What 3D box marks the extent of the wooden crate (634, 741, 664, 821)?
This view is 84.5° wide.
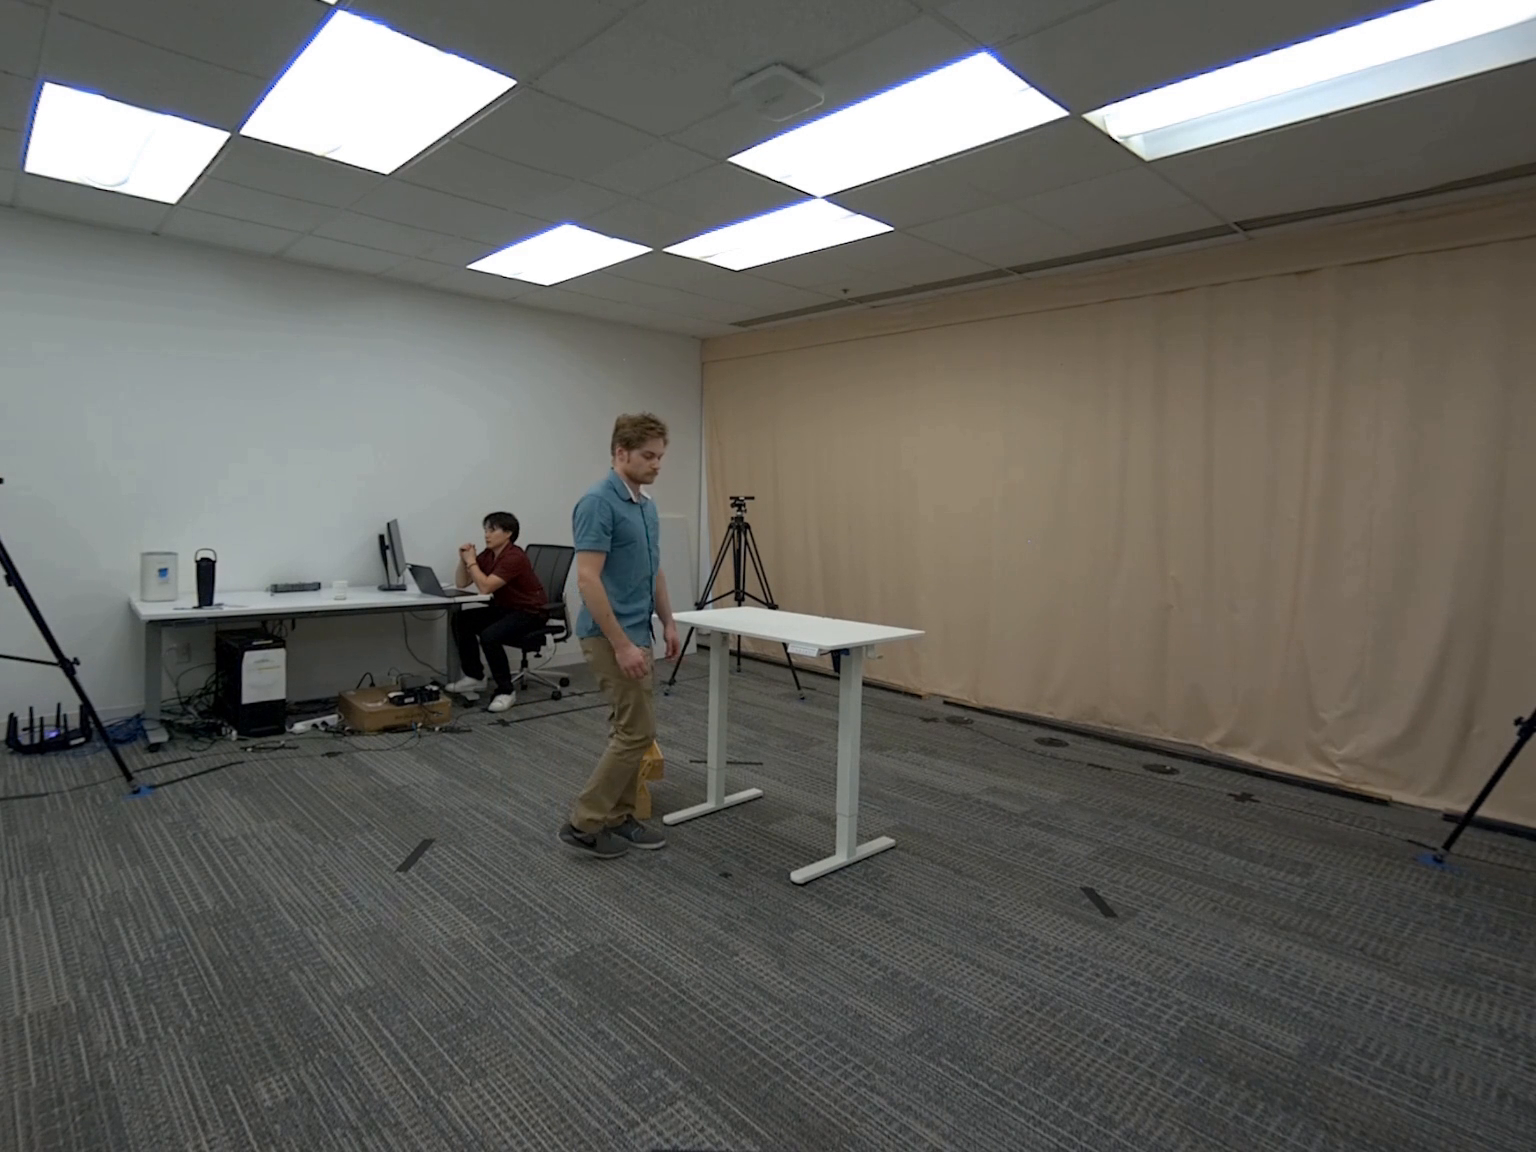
[{"bbox_3d":[-0.653,0.900,3.762,0.298,0.273,0.329,1,4,-16],"label":"wooden crate"}]
